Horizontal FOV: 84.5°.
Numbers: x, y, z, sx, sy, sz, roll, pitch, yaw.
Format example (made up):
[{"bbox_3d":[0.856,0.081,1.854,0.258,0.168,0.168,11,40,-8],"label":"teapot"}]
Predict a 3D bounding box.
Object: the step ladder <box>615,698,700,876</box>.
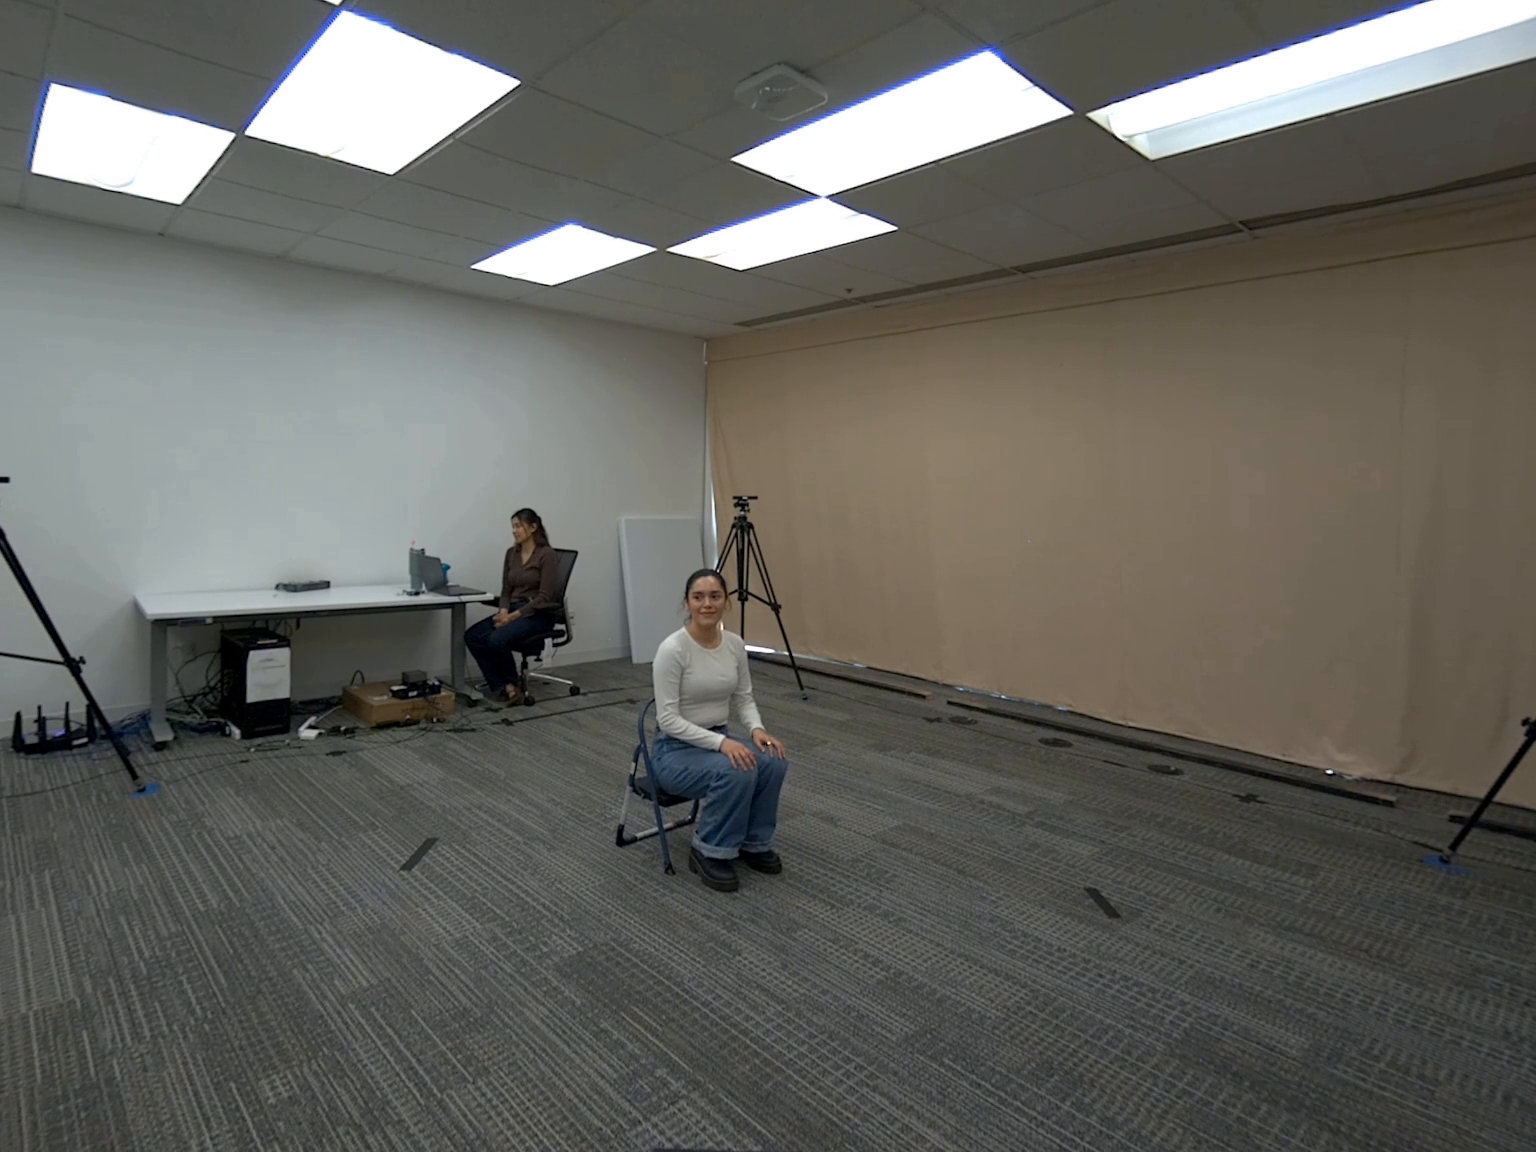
[{"bbox_3d":[-0.342,0.772,3.347,0.358,0.604,0.421,5,5,44],"label":"step ladder"}]
